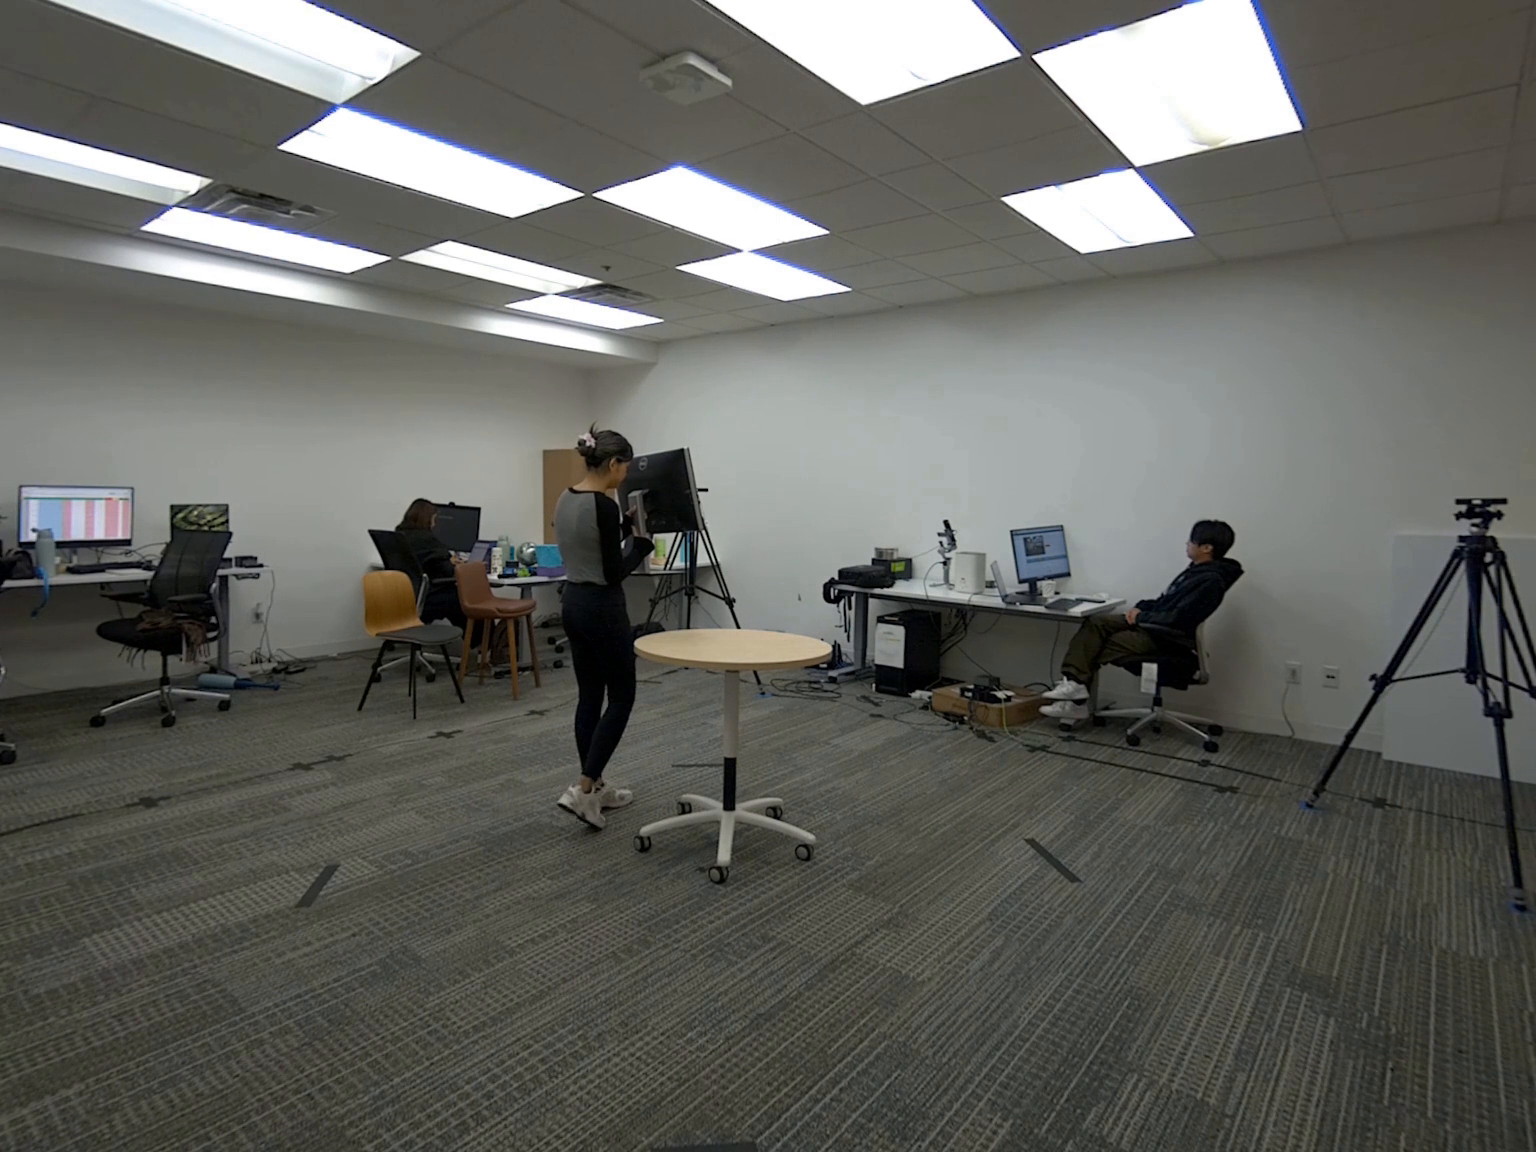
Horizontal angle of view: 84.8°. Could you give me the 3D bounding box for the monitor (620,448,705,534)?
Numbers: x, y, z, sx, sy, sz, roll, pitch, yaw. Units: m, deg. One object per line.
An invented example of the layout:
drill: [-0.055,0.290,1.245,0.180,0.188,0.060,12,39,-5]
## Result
monitor: [-0.538,-0.281,3.781,0.181,0.523,0.556,-1,0,-45]
